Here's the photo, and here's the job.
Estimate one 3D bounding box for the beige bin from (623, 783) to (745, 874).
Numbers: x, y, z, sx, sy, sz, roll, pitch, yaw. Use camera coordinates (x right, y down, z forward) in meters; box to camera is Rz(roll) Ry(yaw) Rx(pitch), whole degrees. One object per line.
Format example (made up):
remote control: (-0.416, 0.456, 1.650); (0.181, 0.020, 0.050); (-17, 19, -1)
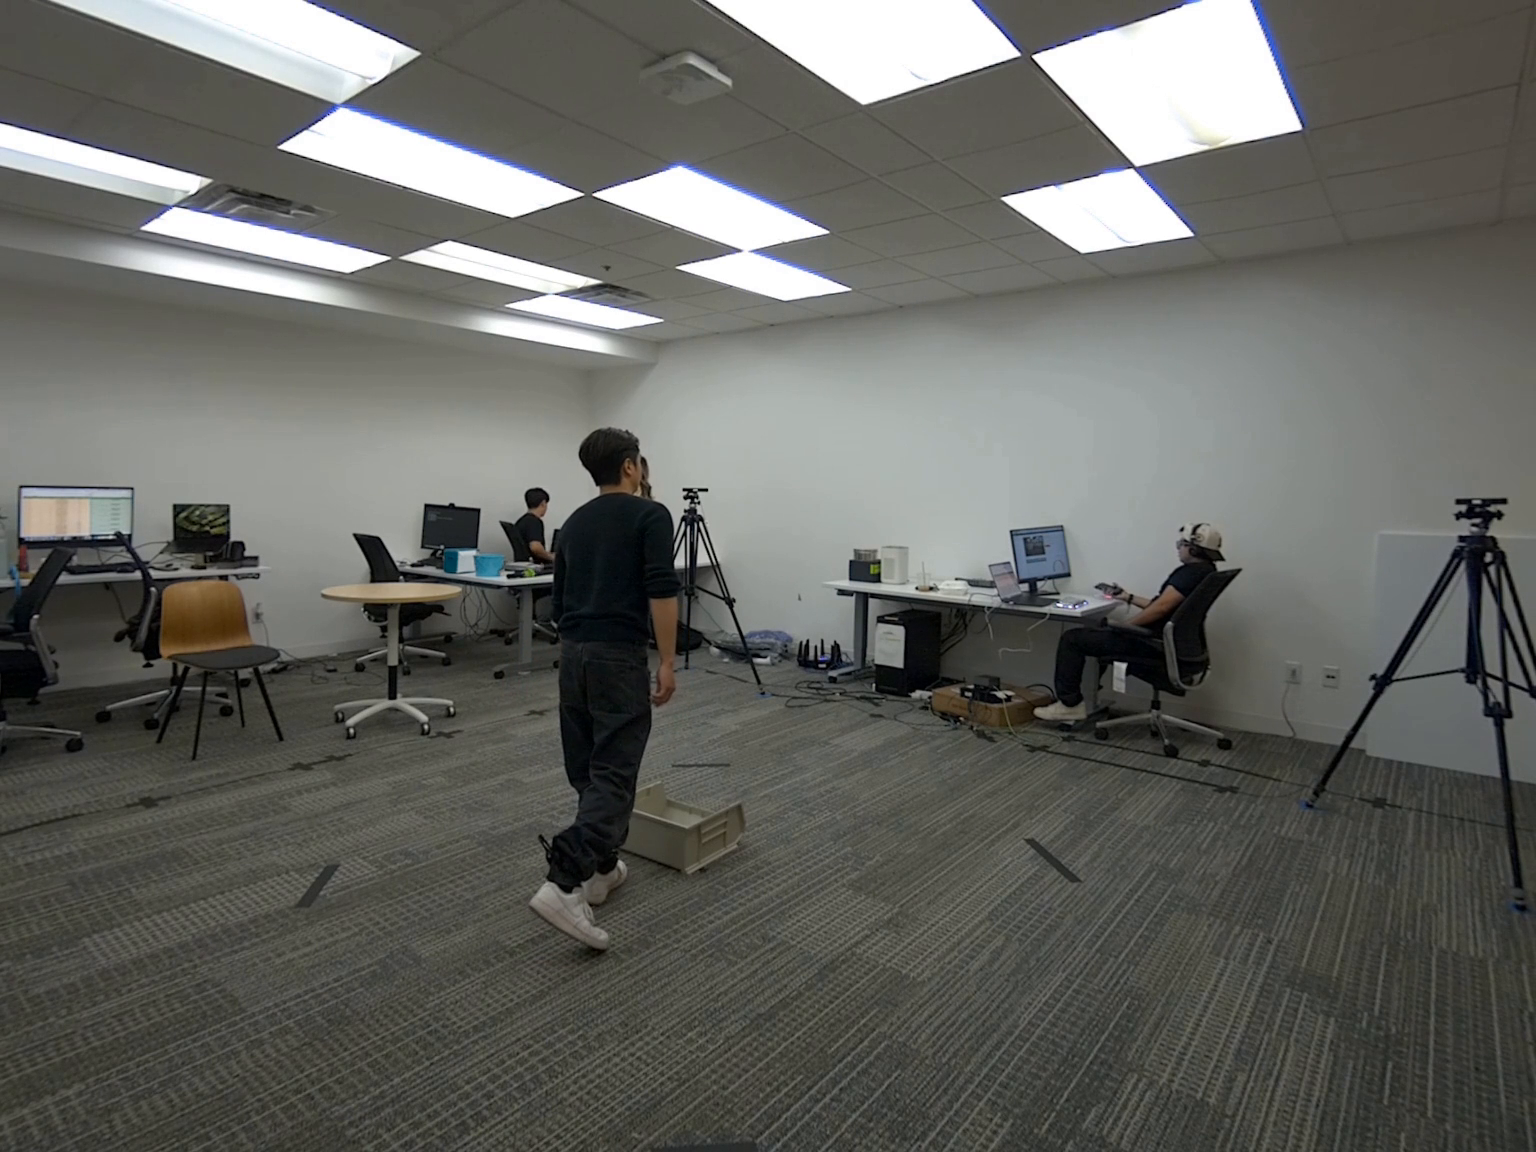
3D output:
beige bin: (-0.370, 0.959, 3.315); (0.436, 0.188, 0.367); (5, 7, 34)
